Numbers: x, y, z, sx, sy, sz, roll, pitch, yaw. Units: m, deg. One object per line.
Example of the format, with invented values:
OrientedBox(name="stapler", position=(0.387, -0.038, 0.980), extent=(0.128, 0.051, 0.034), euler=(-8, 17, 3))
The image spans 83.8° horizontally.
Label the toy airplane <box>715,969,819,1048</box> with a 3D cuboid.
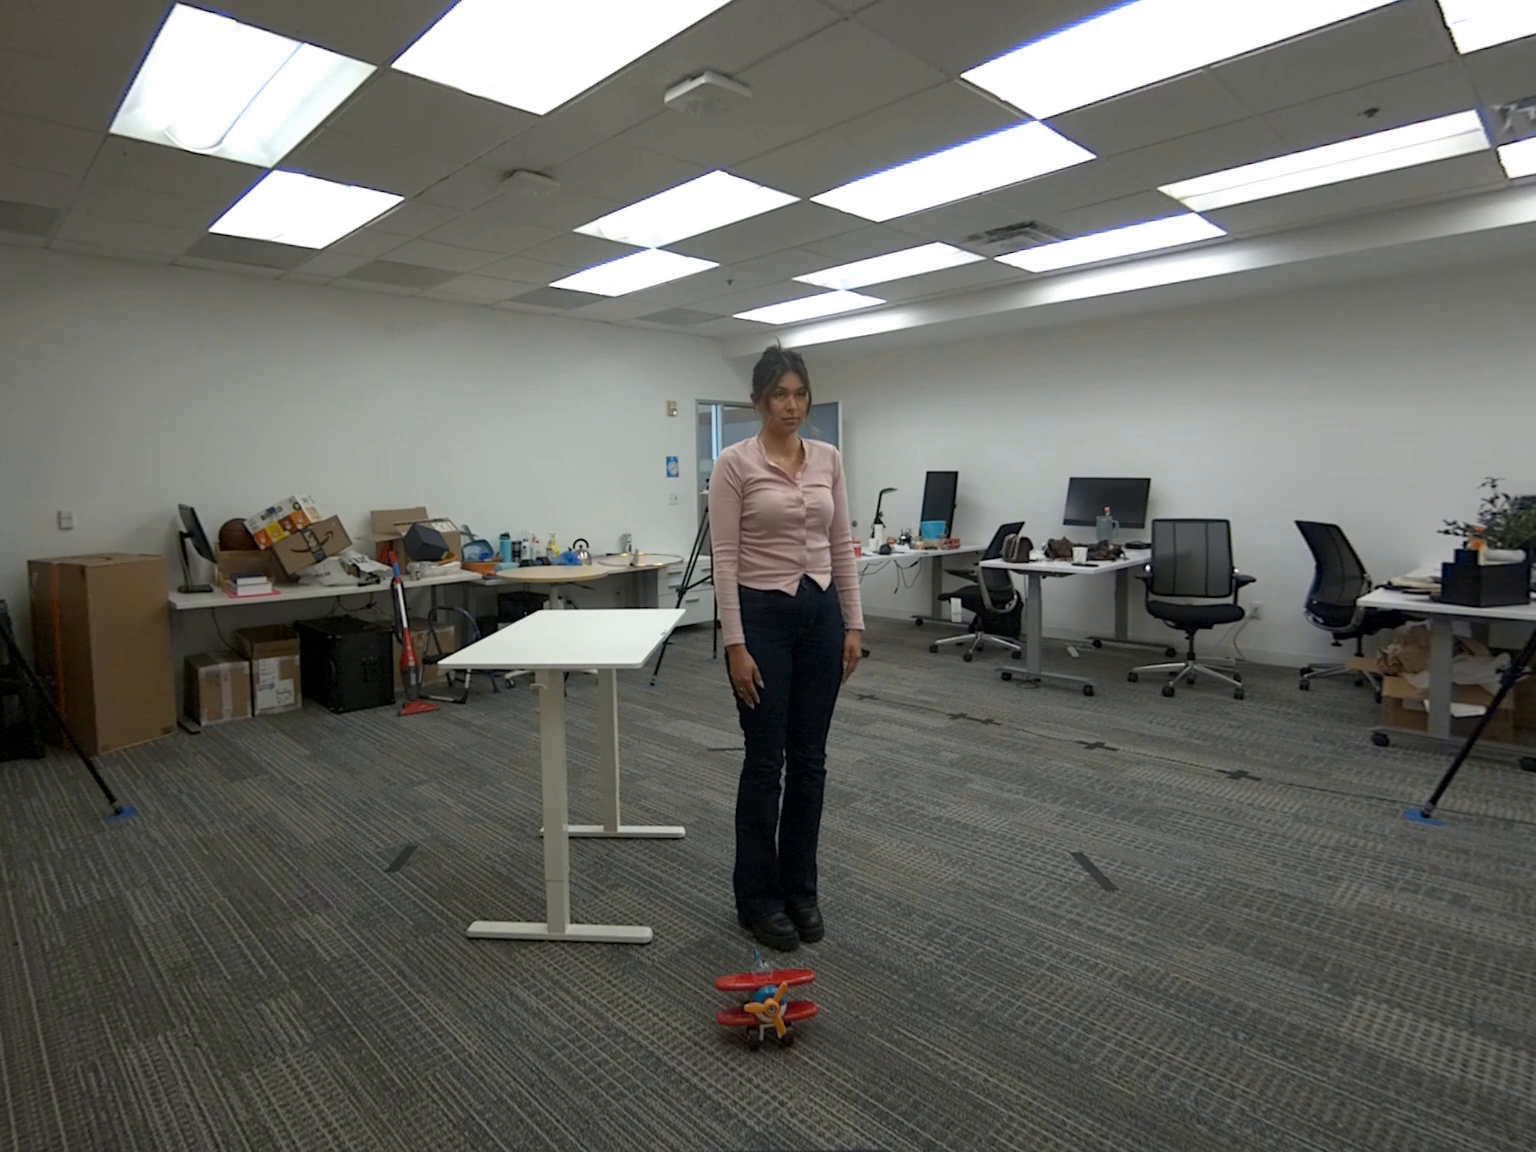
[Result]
OrientedBox(name="toy airplane", position=(-0.022, 1.084, 2.186), extent=(0.245, 0.155, 0.267), euler=(-7, 8, -35))
